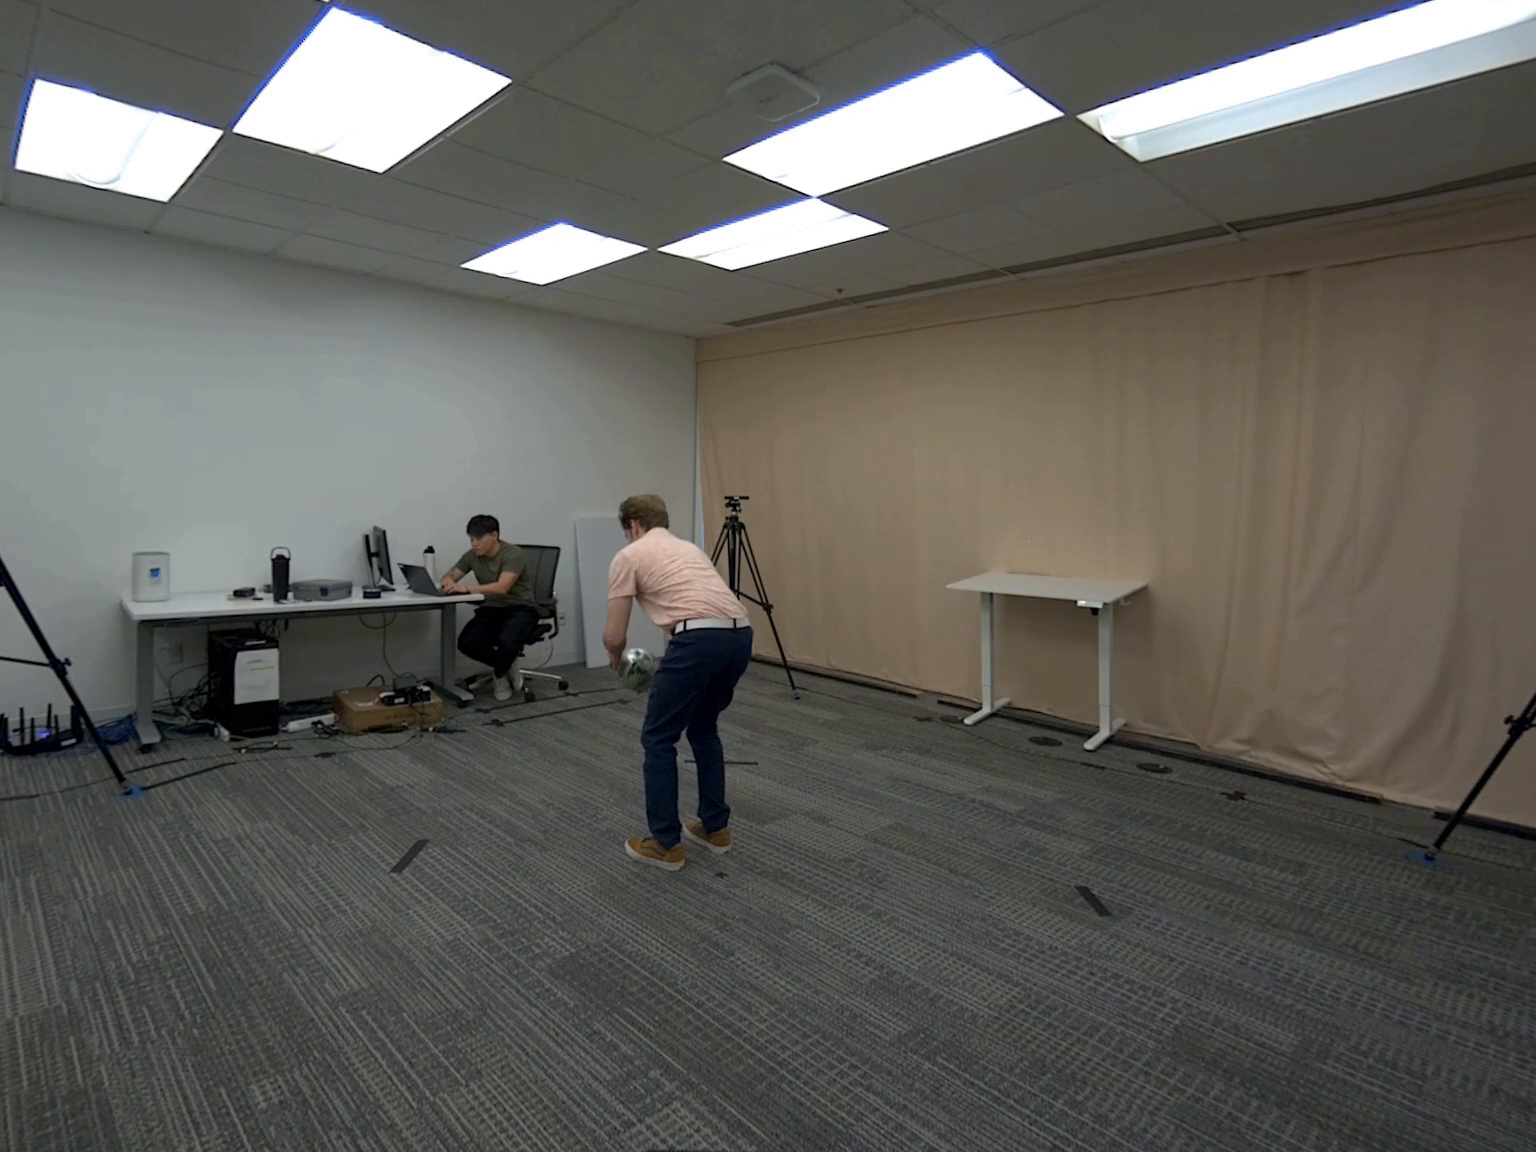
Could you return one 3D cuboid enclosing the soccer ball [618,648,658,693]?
[{"bbox_3d":[-0.564,0.448,3.620,0.187,0.187,0.188,1,4,-1],"label":"soccer ball"}]
